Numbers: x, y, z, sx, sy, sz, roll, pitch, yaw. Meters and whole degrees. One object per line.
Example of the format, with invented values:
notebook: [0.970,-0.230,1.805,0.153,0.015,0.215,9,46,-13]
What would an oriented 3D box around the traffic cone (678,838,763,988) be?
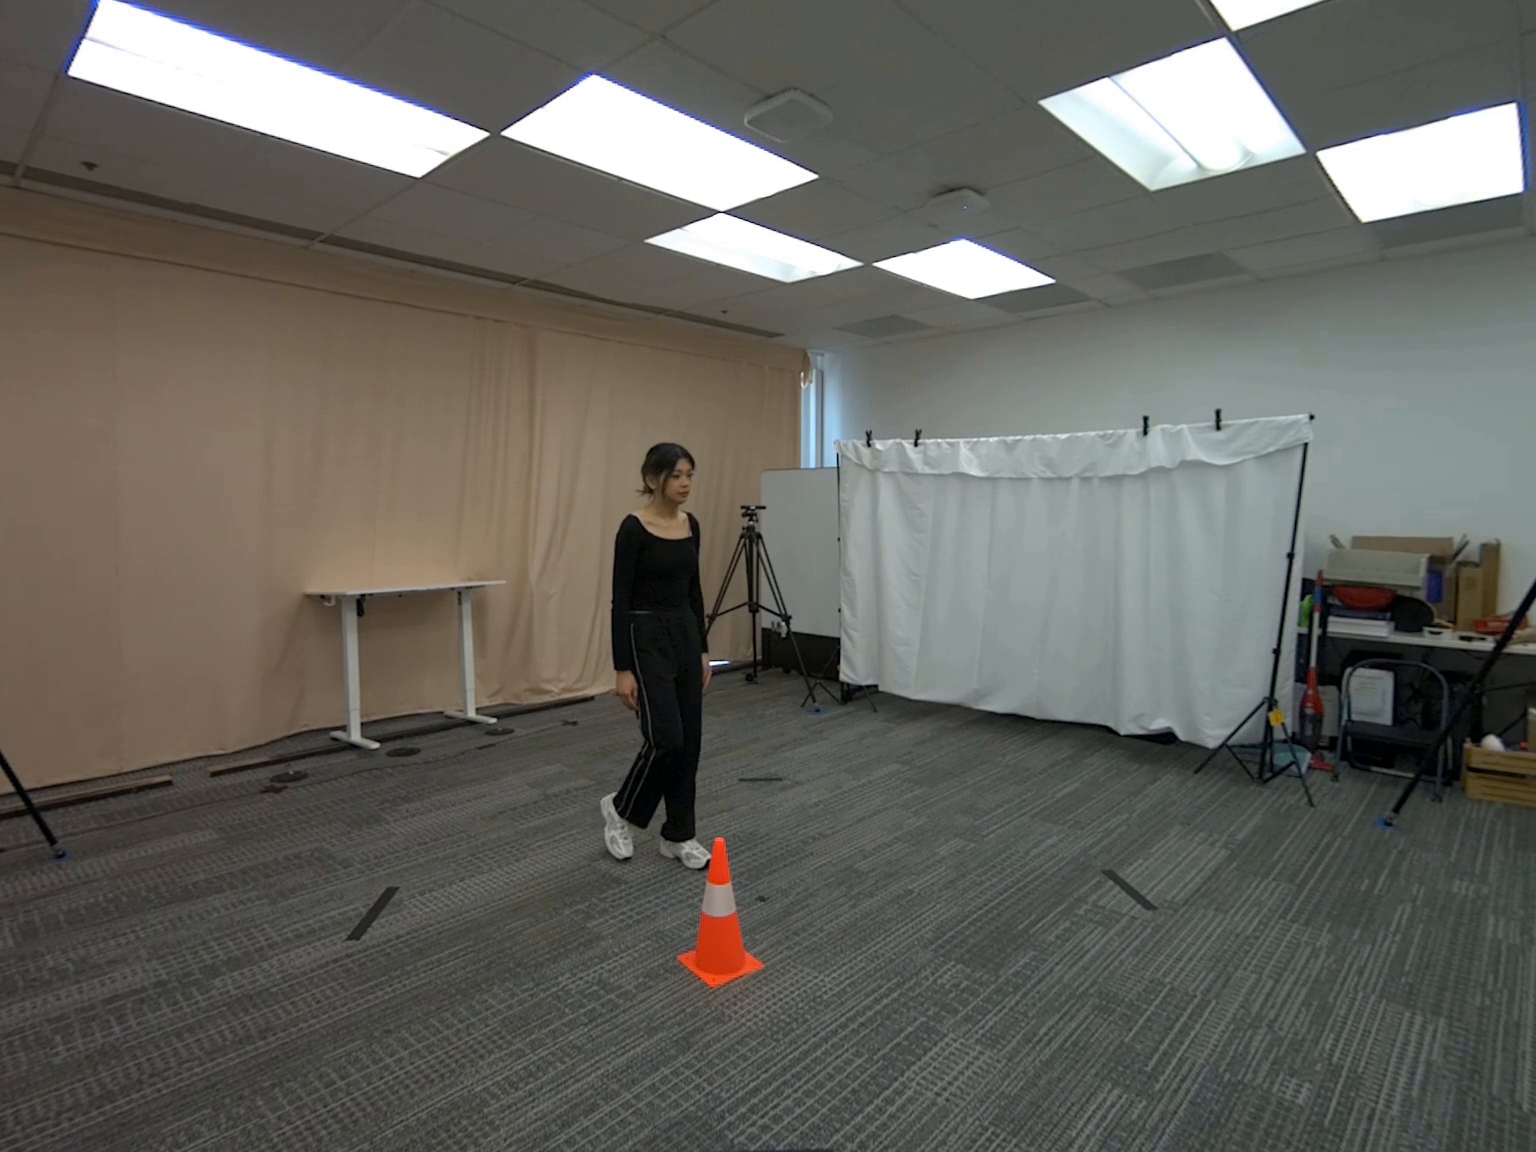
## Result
traffic cone: [-0.140,0.995,2.558,0.199,0.383,0.210,-1,3,-37]
